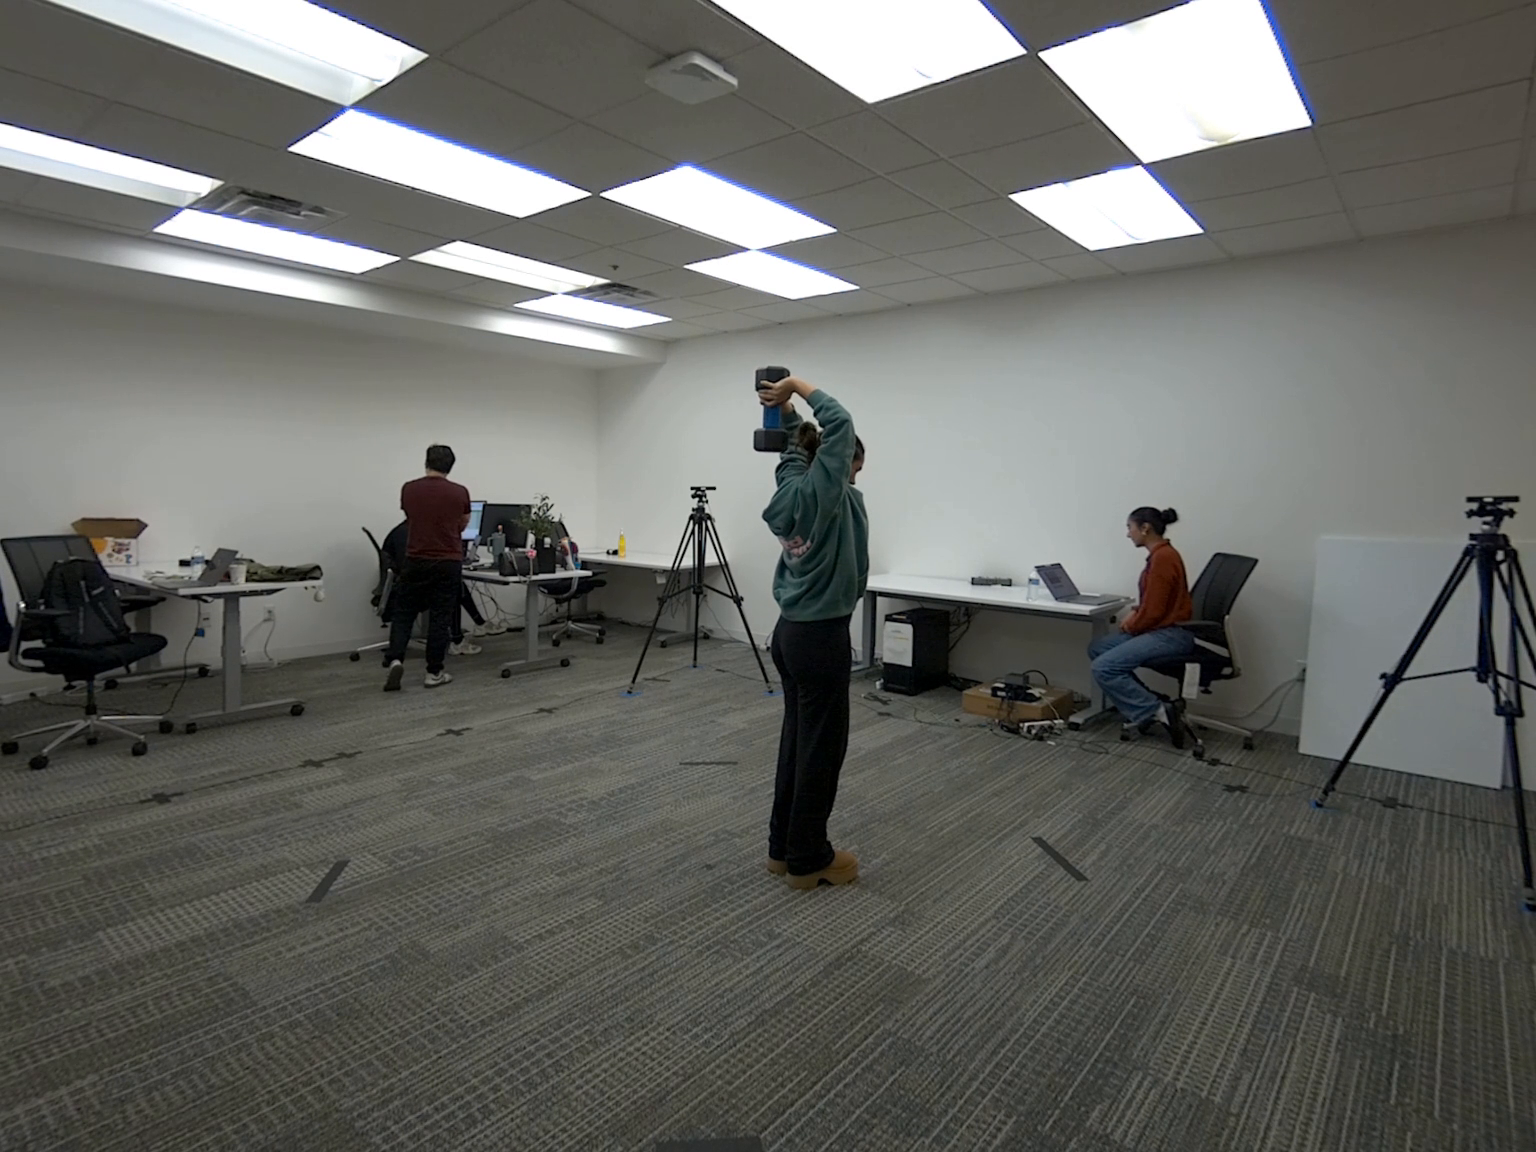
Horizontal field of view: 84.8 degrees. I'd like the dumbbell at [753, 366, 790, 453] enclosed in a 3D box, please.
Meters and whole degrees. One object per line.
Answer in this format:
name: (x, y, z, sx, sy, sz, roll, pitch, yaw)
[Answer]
dumbbell: (0.009, -0.584, 2.969, 0.121, 0.293, 0.110, 1, 3, -12)
